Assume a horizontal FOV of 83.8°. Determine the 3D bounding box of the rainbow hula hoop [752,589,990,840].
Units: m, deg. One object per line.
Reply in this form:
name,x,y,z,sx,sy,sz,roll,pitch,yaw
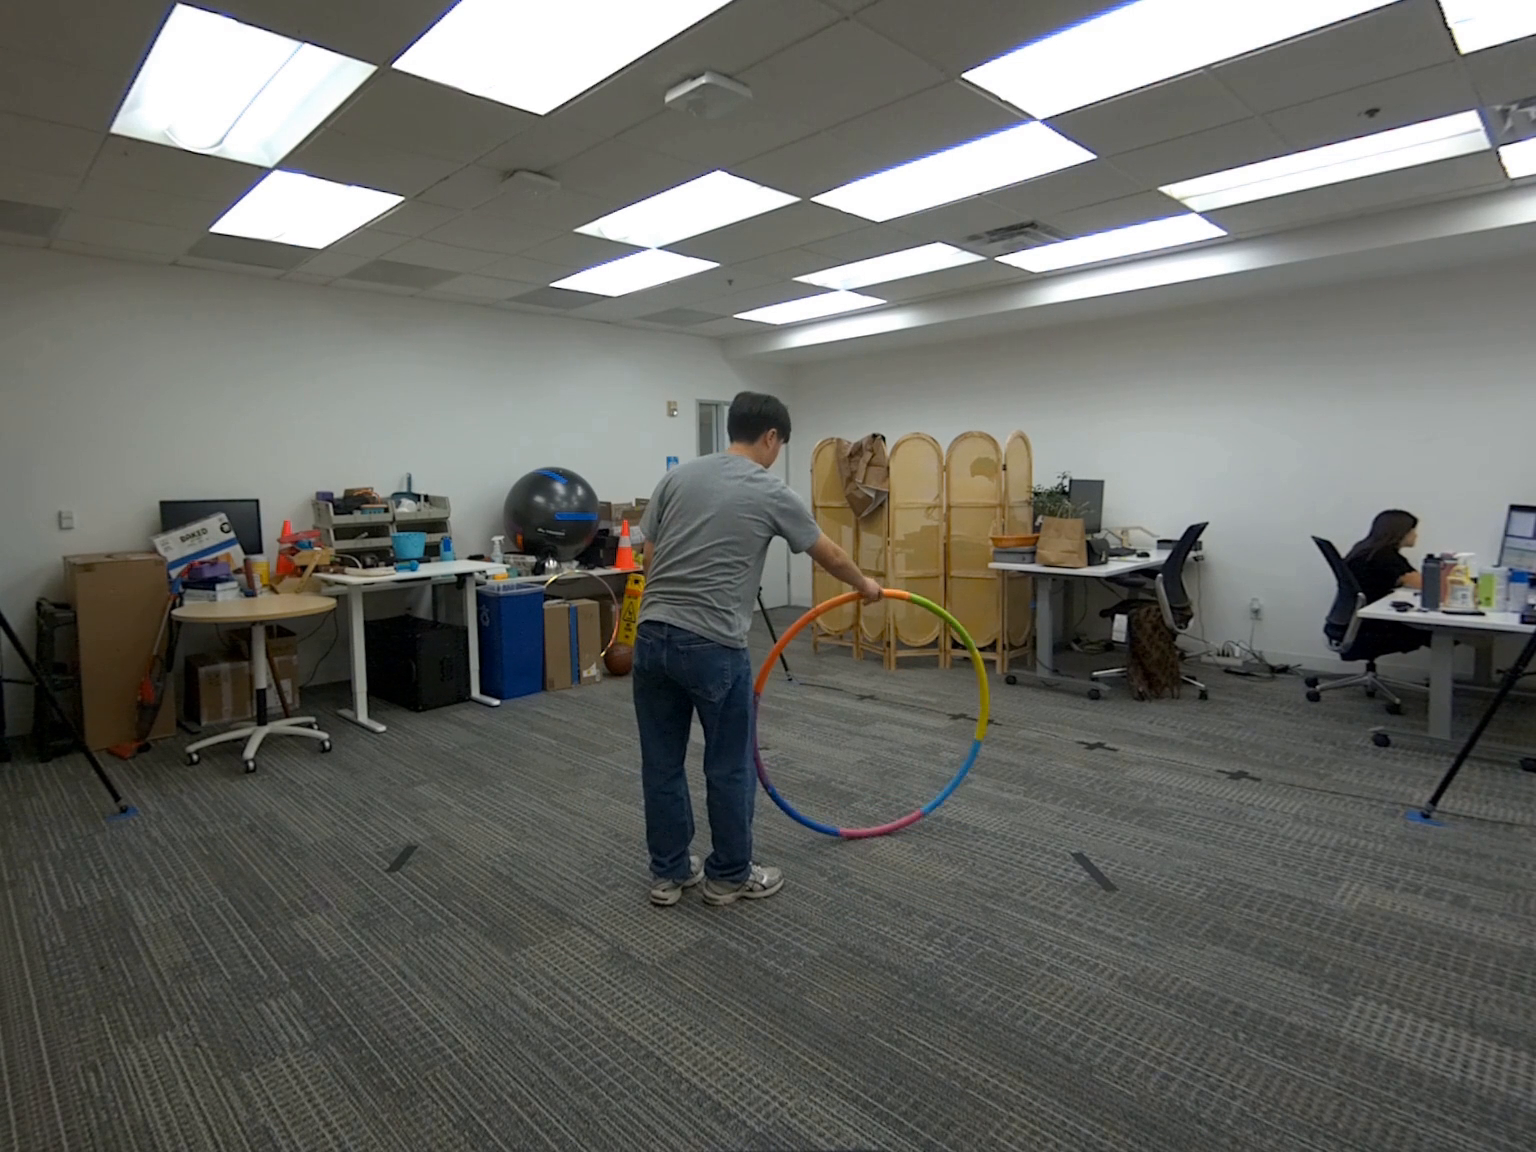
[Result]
rainbow hula hoop,0.388,0.532,3.262,0.966,0.971,0.036,-2,8,-14
